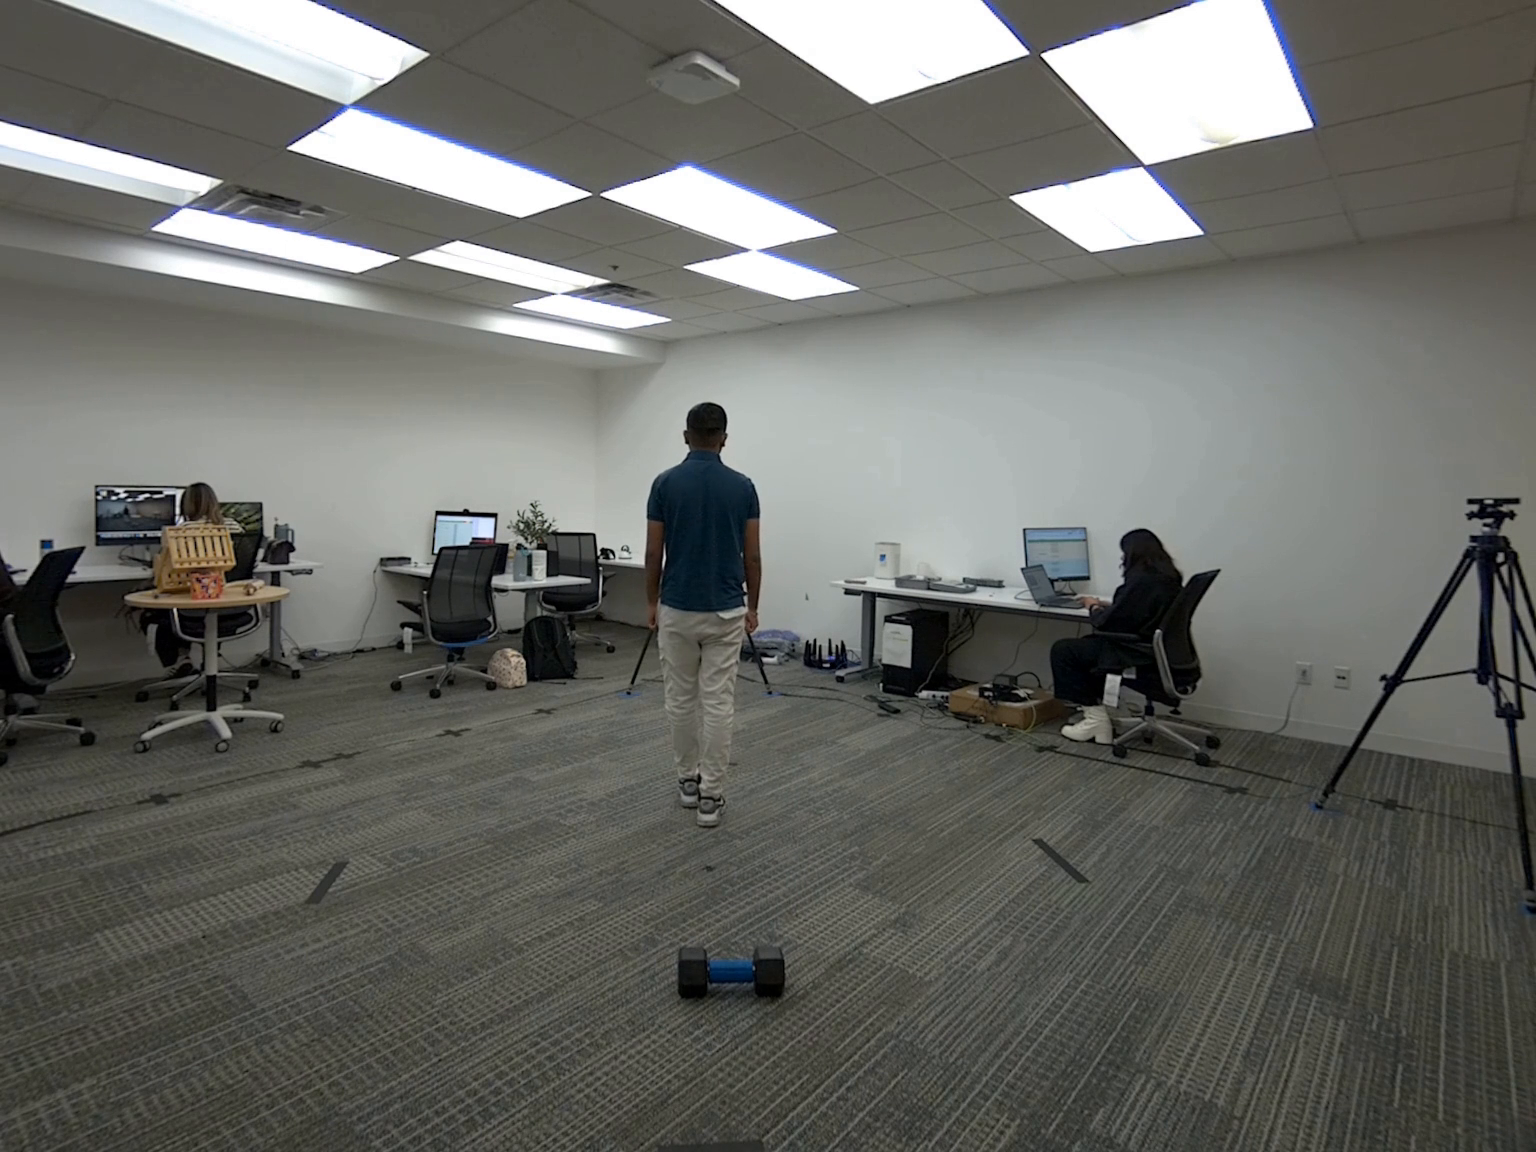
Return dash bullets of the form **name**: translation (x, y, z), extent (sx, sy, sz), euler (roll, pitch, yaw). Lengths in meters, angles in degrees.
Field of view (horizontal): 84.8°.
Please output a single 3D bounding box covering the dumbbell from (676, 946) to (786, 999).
- **dumbbell**: translation (-0.108, 1.094, 2.360), extent (0.292, 0.126, 0.106), euler (1, -27, -4)
